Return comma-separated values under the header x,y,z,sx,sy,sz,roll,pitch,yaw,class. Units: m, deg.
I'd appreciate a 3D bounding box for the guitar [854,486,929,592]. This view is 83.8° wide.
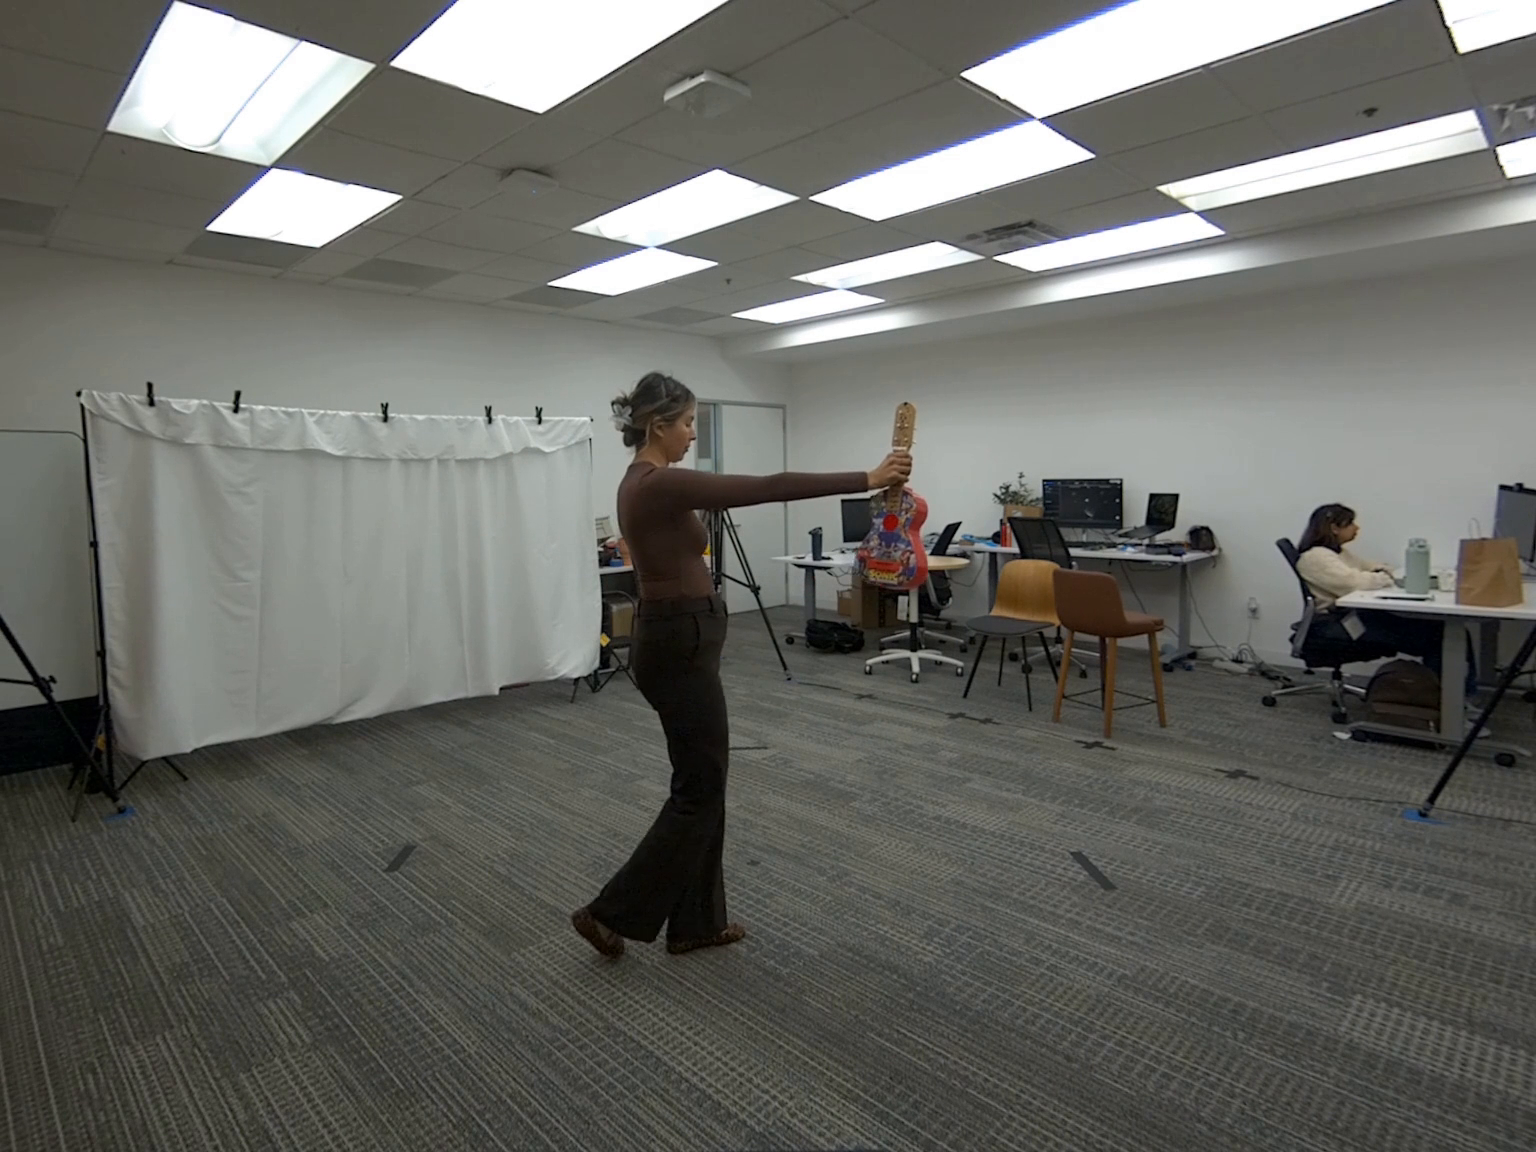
x,y,z,sx,sy,sz,roll,pitch,yaw,class
0.373,-0.206,2.283,0.200,0.496,0.068,20,7,41,guitar
